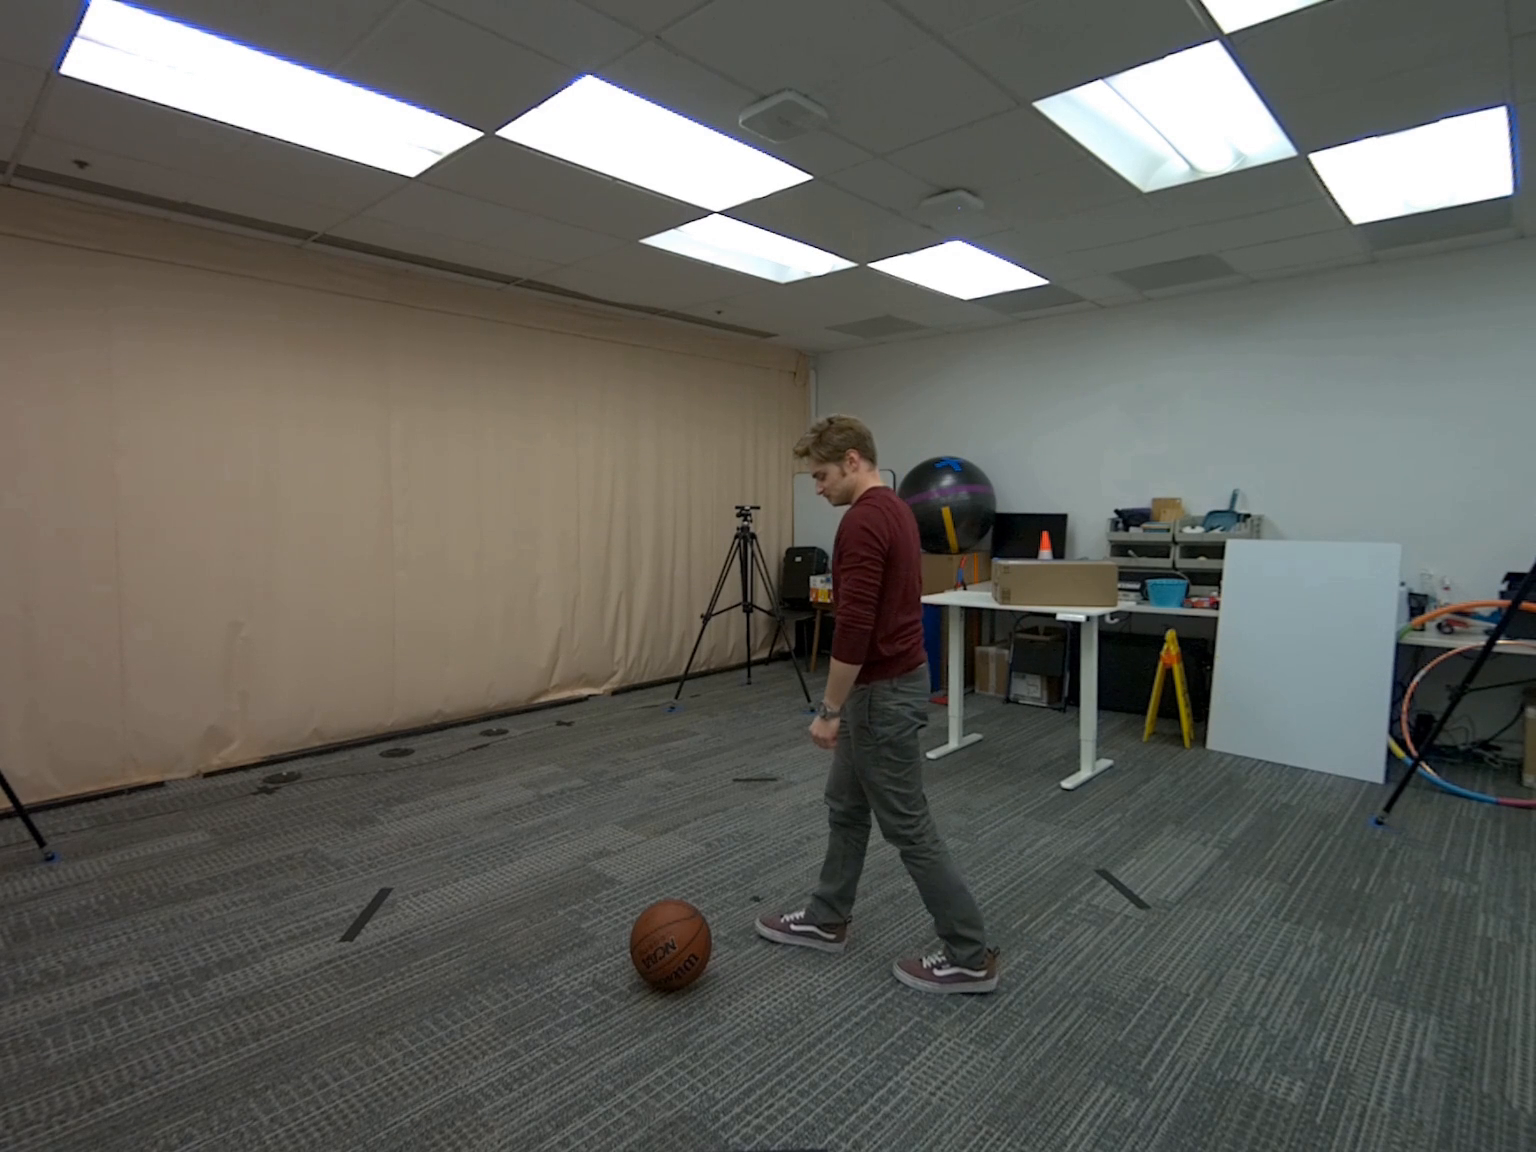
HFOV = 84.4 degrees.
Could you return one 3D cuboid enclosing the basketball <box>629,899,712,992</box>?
[{"bbox_3d":[-0.283,1.069,2.448,0.236,0.235,0.237,0,4,-2],"label":"basketball"}]
